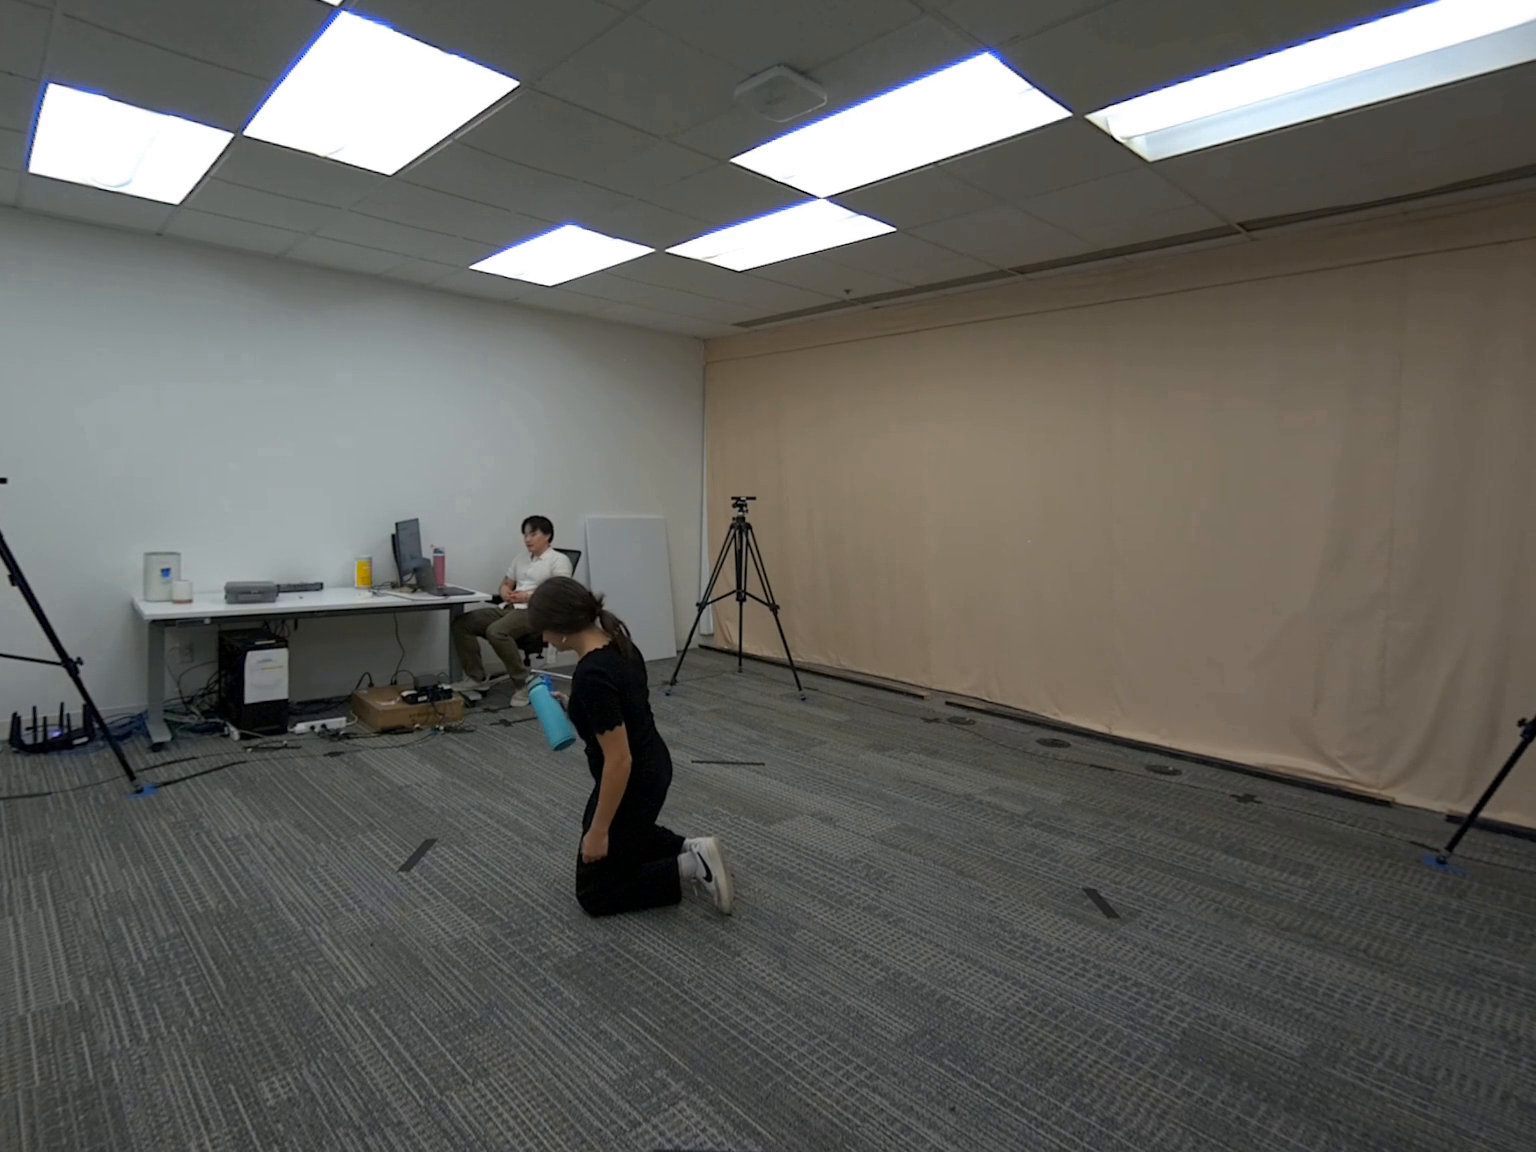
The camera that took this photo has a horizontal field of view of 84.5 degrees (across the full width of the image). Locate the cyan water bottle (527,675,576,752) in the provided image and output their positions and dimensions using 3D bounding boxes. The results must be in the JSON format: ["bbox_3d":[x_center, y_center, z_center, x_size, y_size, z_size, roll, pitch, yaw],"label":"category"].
[{"bbox_3d":[-0.786,0.476,2.982,0.092,0.290,0.090,-27,-25,-14],"label":"cyan water bottle"}]
